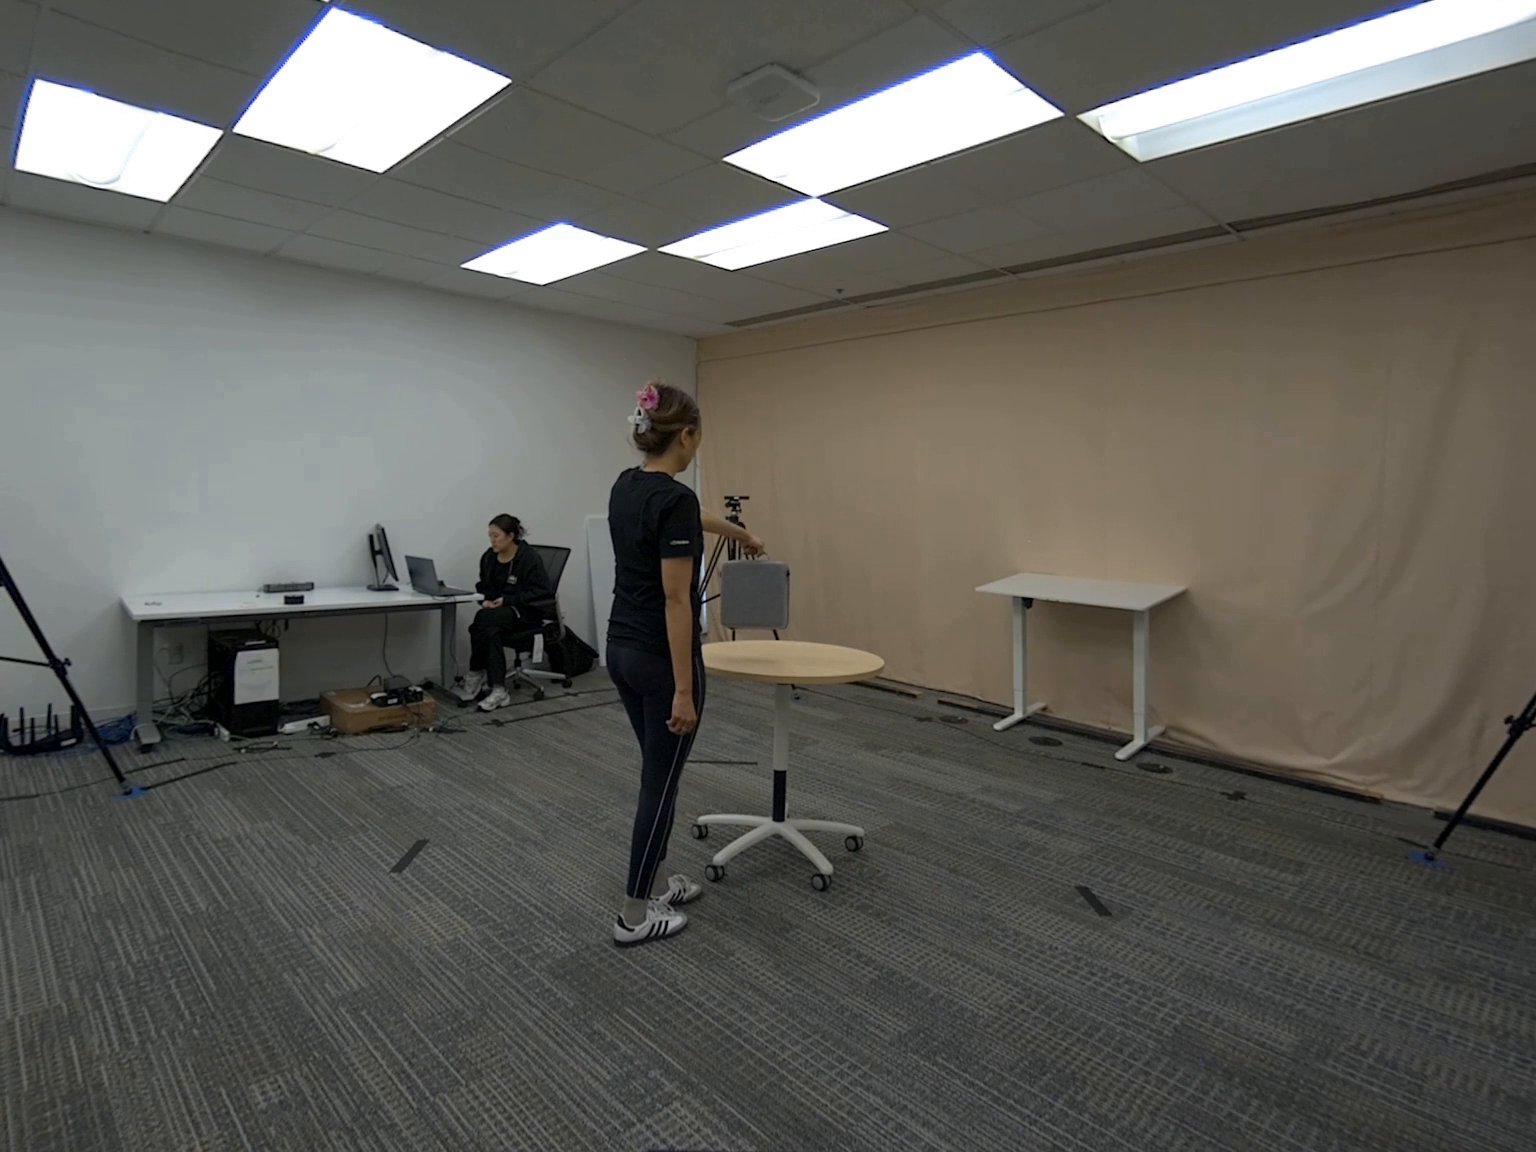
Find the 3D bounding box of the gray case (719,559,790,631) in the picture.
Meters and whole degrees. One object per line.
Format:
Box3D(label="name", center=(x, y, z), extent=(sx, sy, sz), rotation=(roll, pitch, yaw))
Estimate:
Box3D(label="gray case", center=(-0.050, 0.068, 3.150), extent=(0.260, 0.261, 0.103), rotation=(-2, -4, 14))
